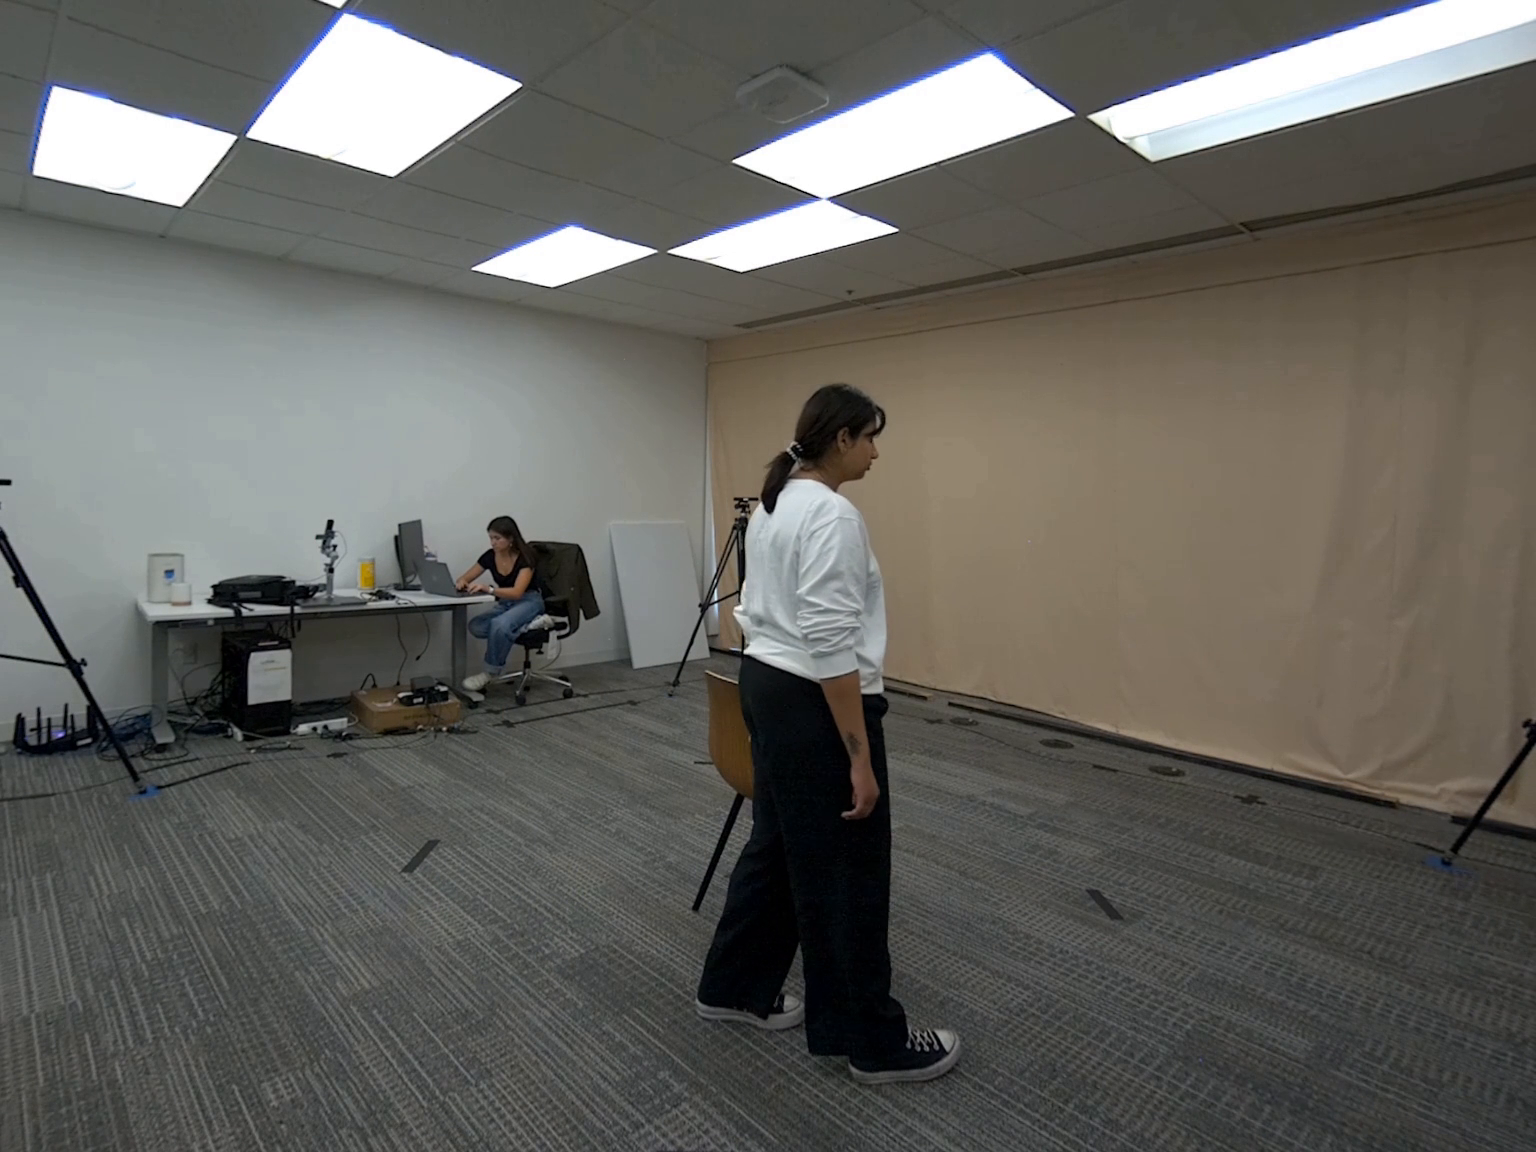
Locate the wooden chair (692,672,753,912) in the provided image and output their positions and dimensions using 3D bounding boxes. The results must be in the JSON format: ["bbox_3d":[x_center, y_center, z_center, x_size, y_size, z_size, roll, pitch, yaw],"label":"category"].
[{"bbox_3d":[0.069,0.718,2.765,0.512,0.874,0.490,-6,7,-36],"label":"wooden chair"}]
